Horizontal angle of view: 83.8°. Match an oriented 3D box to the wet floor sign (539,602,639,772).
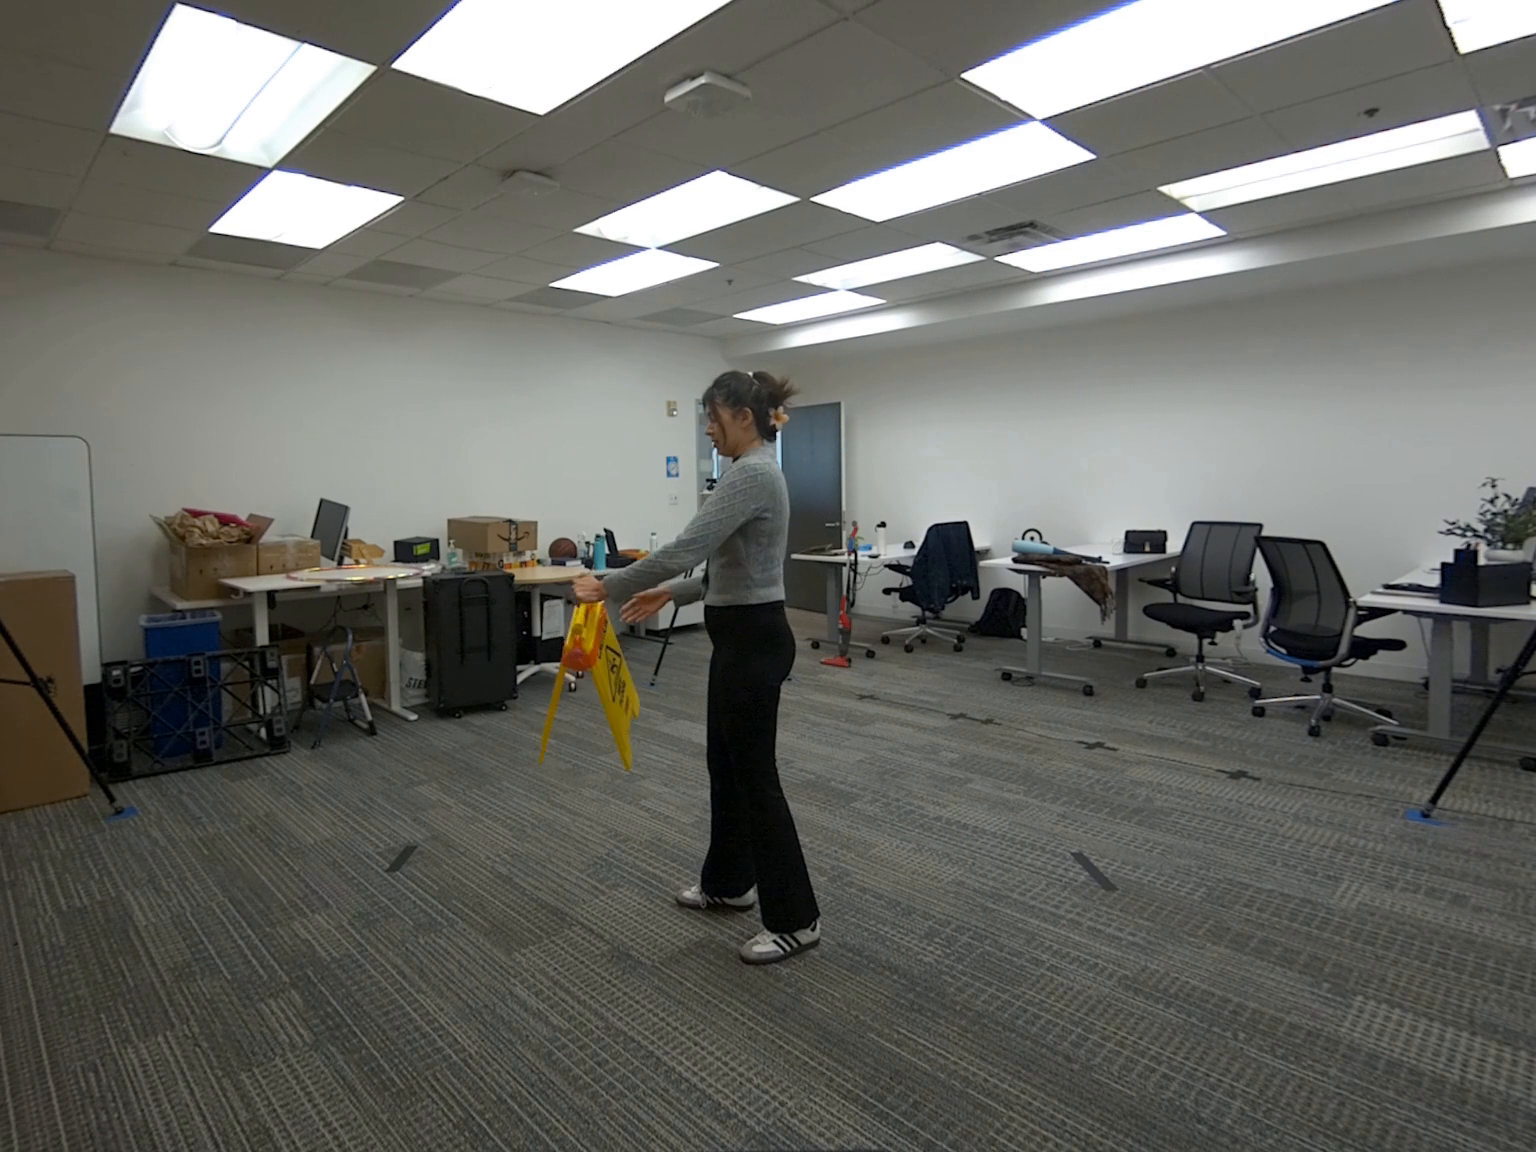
[{"bbox_3d":[-0.551,0.283,2.607,0.289,0.631,0.289,5,43,-3],"label":"wet floor sign"}]
